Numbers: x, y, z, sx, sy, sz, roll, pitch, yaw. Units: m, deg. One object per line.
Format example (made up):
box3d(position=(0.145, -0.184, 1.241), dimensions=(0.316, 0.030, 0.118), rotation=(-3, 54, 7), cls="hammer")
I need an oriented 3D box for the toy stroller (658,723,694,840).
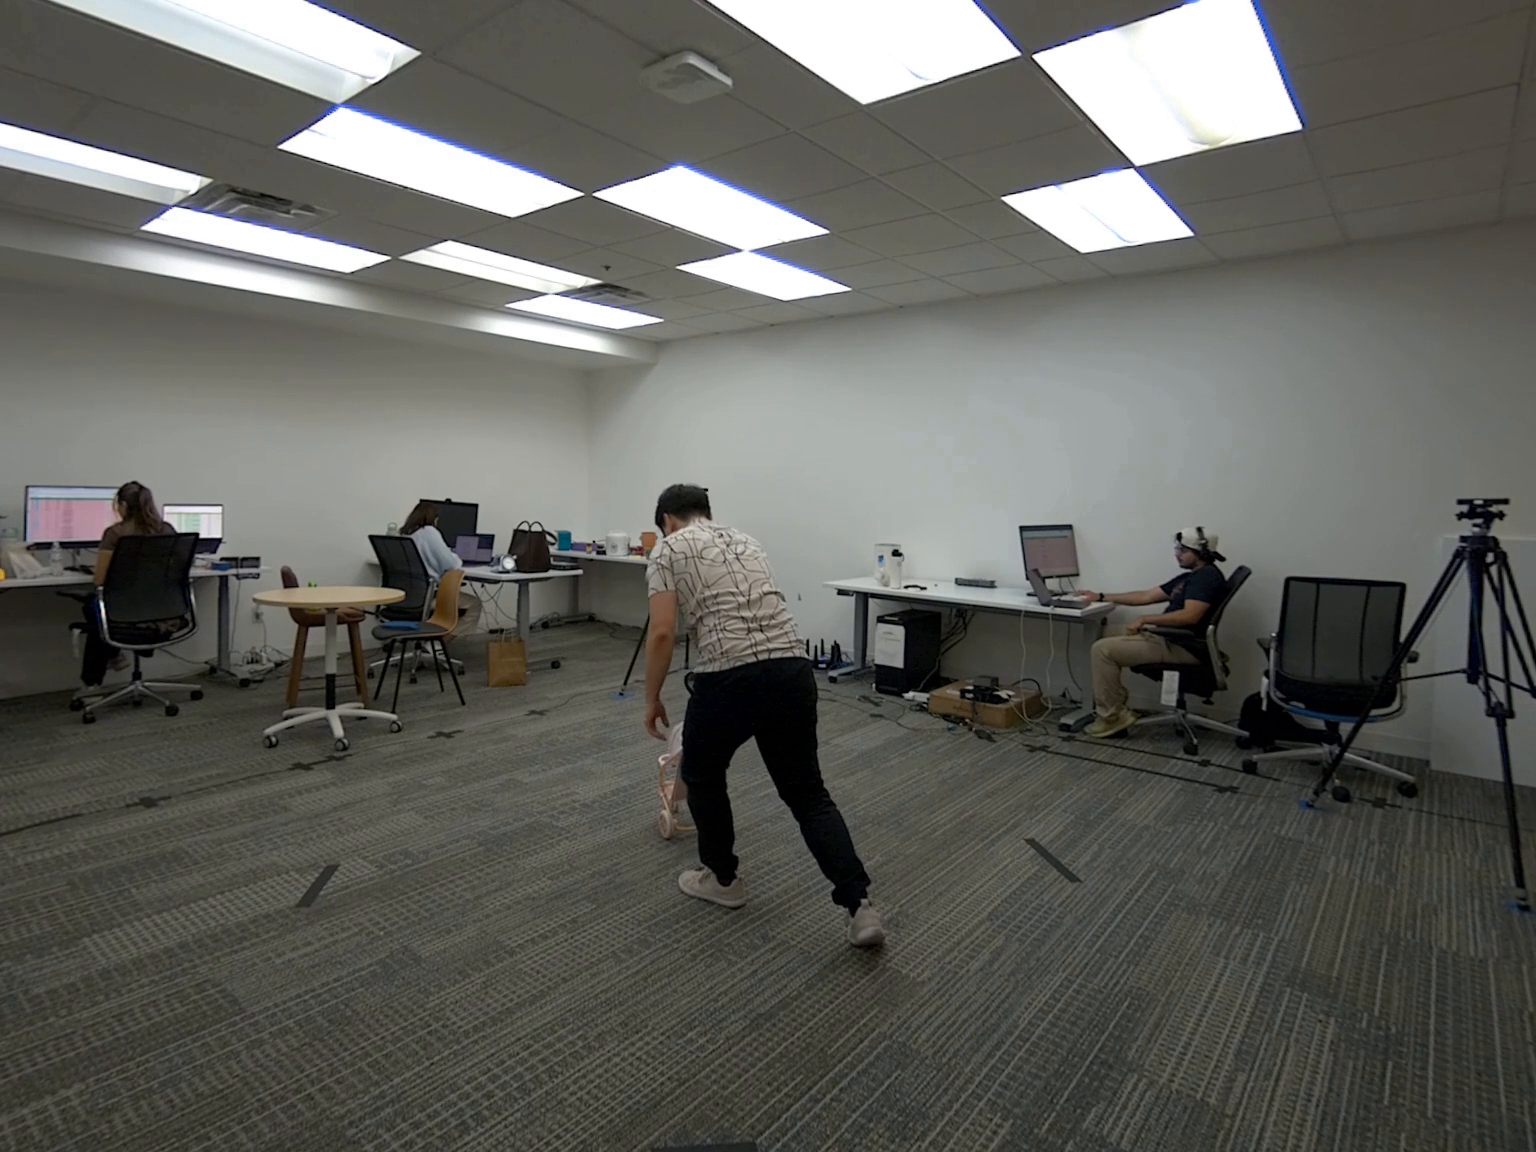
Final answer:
box3d(position=(-0.326, 0.809, 3.481), dimensions=(0.276, 0.527, 0.353), rotation=(0, 21, -21), cls="toy stroller")
